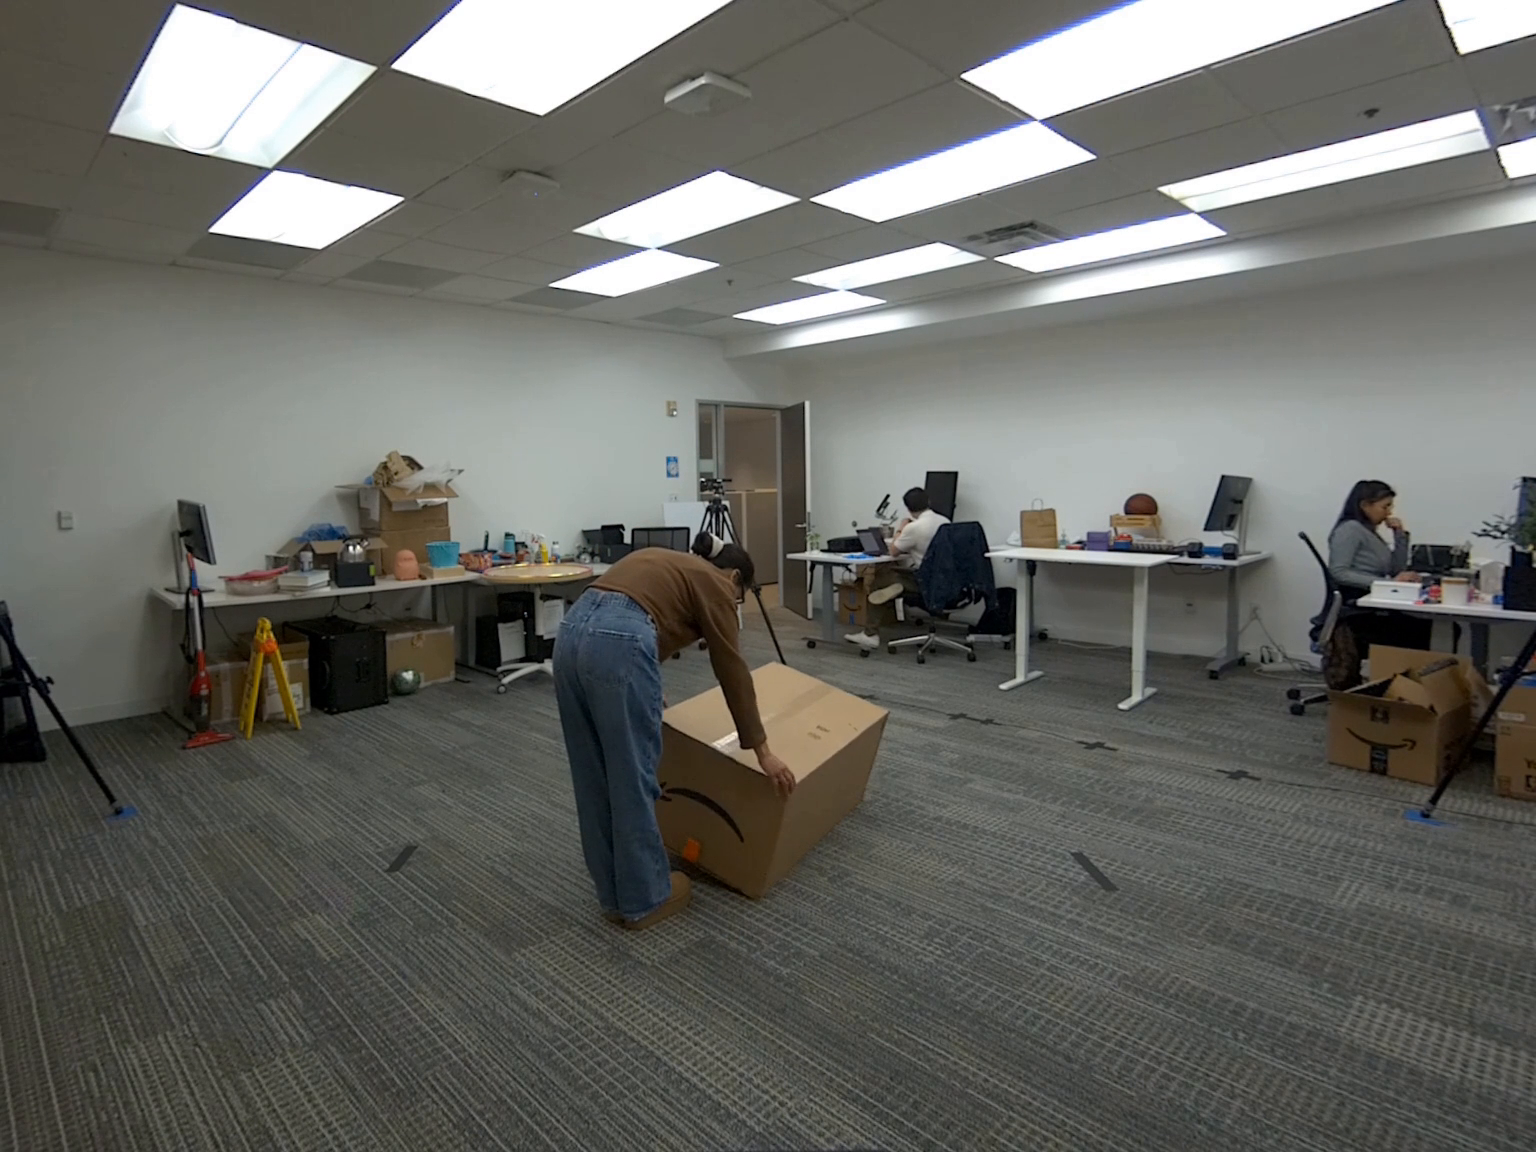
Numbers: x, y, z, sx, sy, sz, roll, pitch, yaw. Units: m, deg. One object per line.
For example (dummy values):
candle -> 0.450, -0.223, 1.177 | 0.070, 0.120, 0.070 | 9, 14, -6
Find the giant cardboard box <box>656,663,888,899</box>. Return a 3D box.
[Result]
giant cardboard box -> 0.001, 0.739, 3.367 | 0.600, 0.443, 1.006 | 18, 13, 24
